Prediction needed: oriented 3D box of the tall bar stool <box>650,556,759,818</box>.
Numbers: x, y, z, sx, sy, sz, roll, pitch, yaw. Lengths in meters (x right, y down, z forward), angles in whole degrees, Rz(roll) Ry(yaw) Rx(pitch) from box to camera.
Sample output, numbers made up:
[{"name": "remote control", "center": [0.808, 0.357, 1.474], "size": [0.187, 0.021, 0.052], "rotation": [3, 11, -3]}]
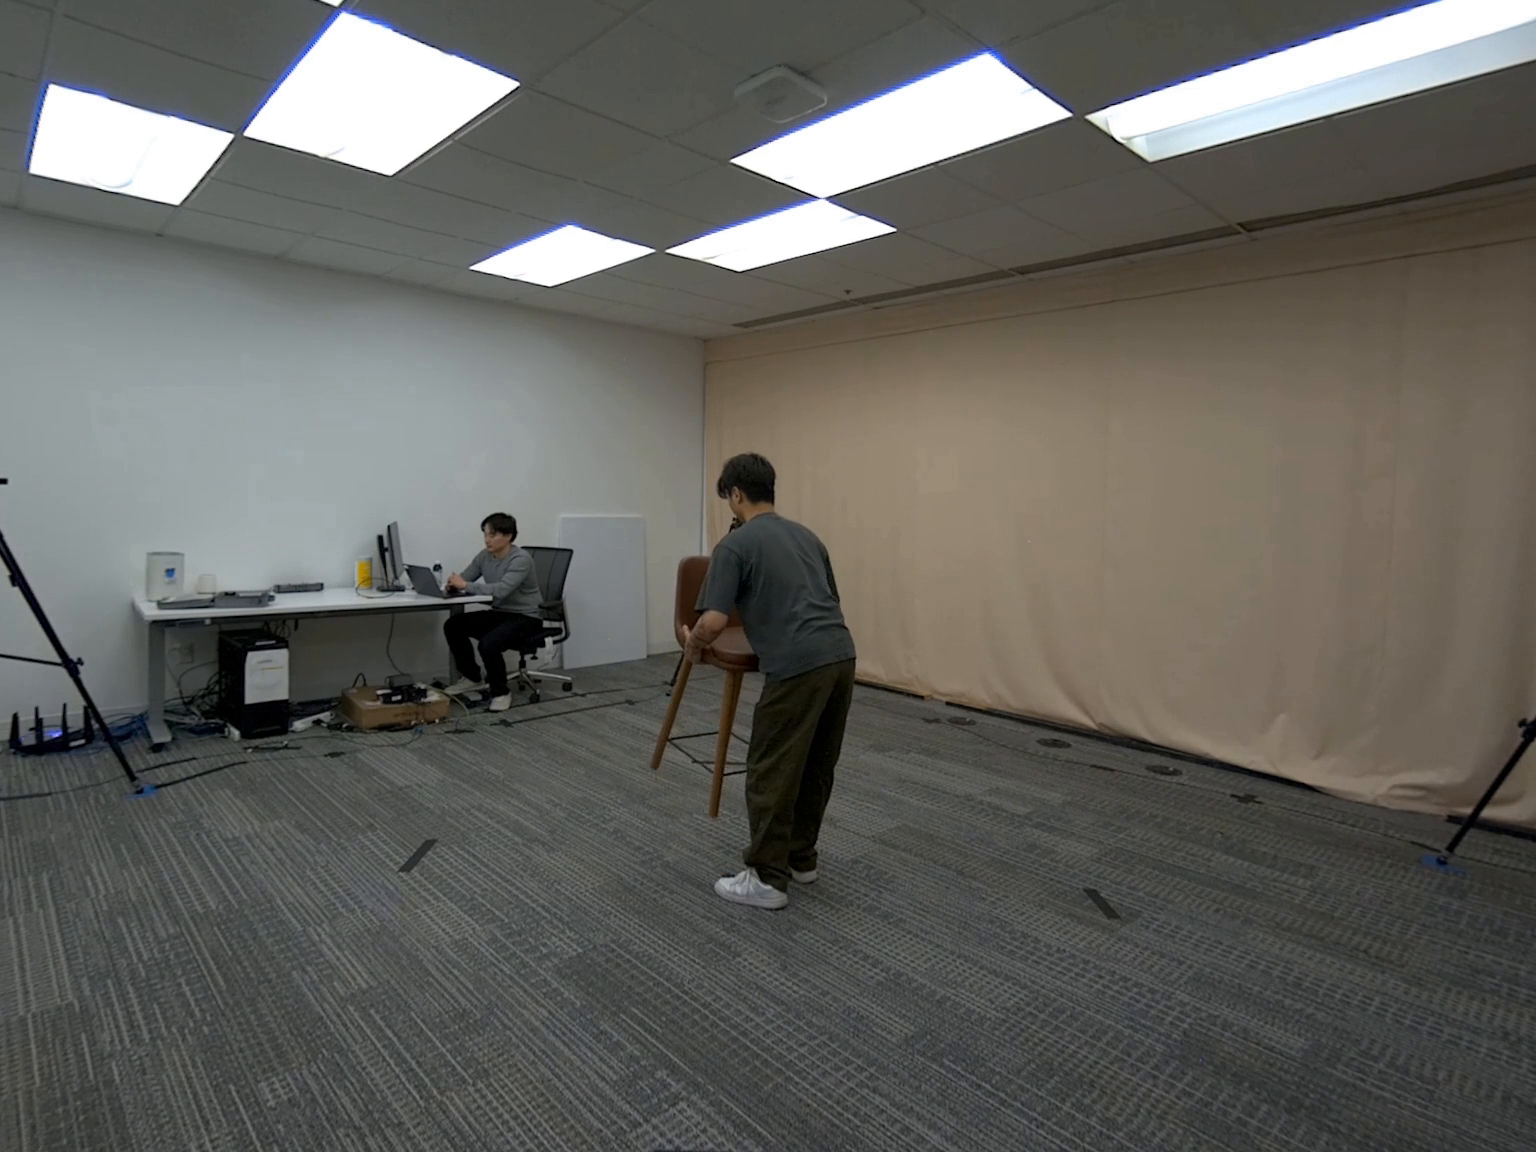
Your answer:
[{"name": "tall bar stool", "center": [-0.140, 0.408, 3.285], "size": [0.445, 0.886, 0.481], "rotation": [2, 9, -41]}]
